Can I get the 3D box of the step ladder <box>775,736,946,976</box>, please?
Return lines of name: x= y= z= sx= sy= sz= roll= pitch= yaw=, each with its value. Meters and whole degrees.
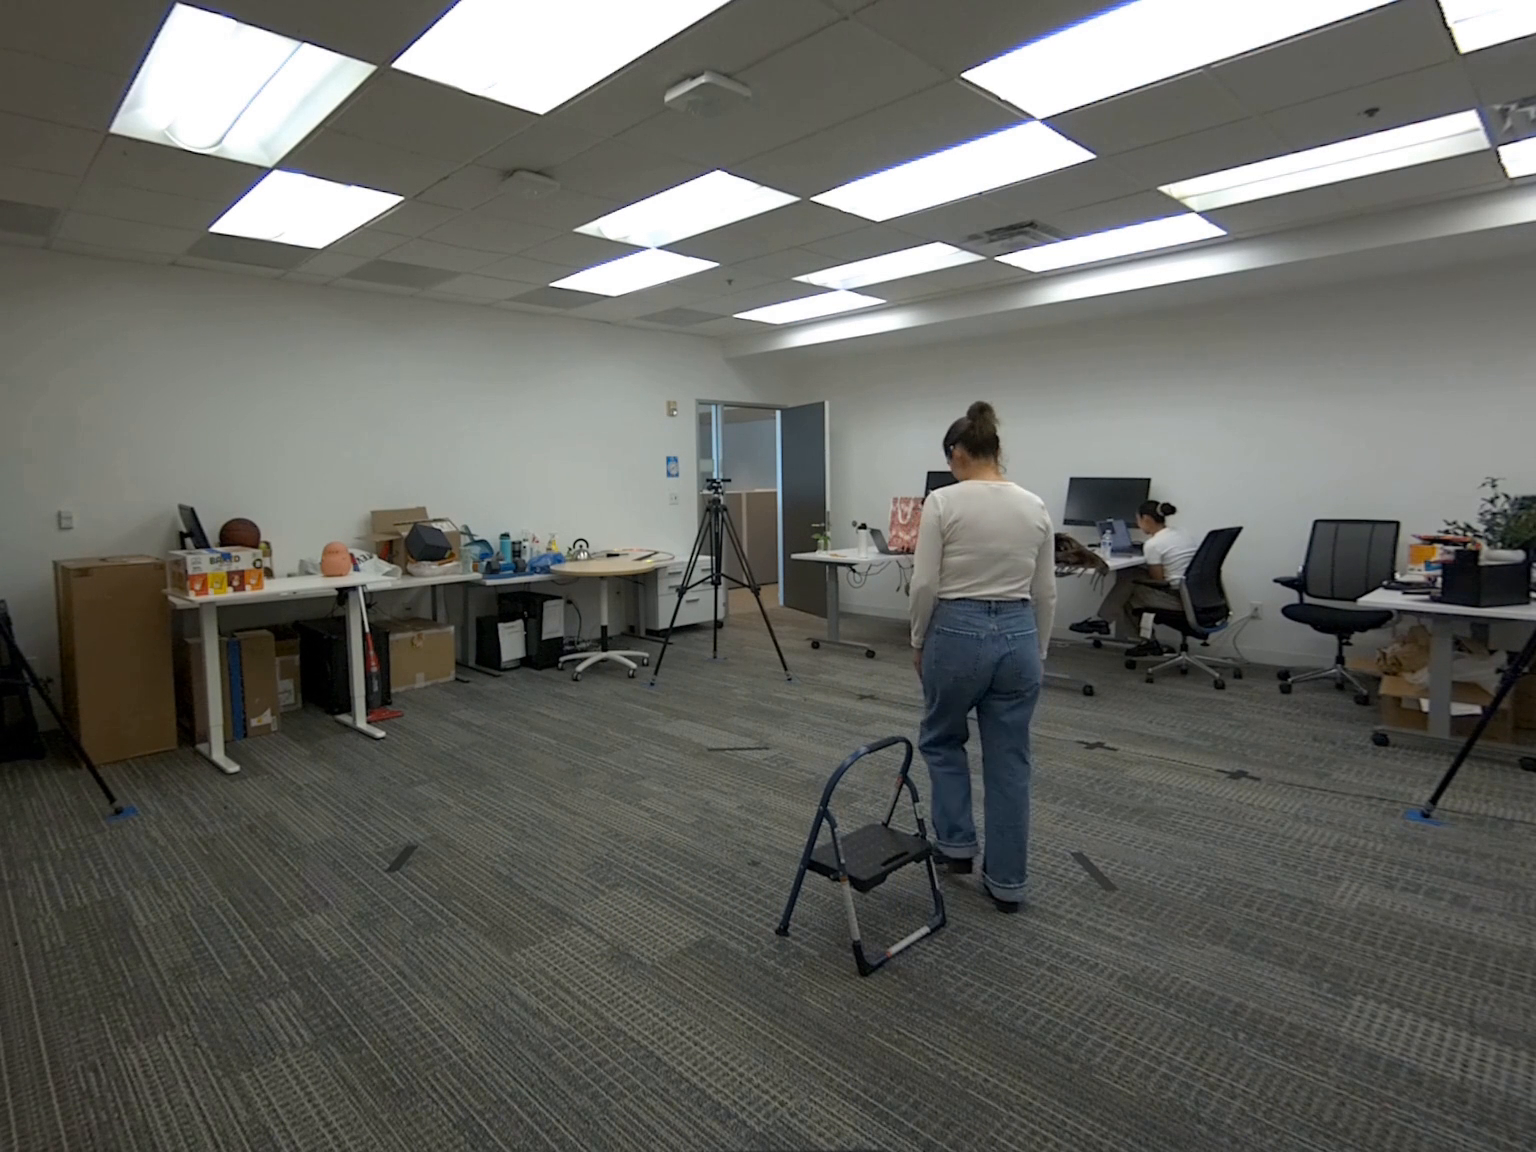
step ladder: x=0.288 y=0.791 z=2.627 sx=0.360 sy=0.604 sz=0.419 roll=3 pitch=6 yaw=45
